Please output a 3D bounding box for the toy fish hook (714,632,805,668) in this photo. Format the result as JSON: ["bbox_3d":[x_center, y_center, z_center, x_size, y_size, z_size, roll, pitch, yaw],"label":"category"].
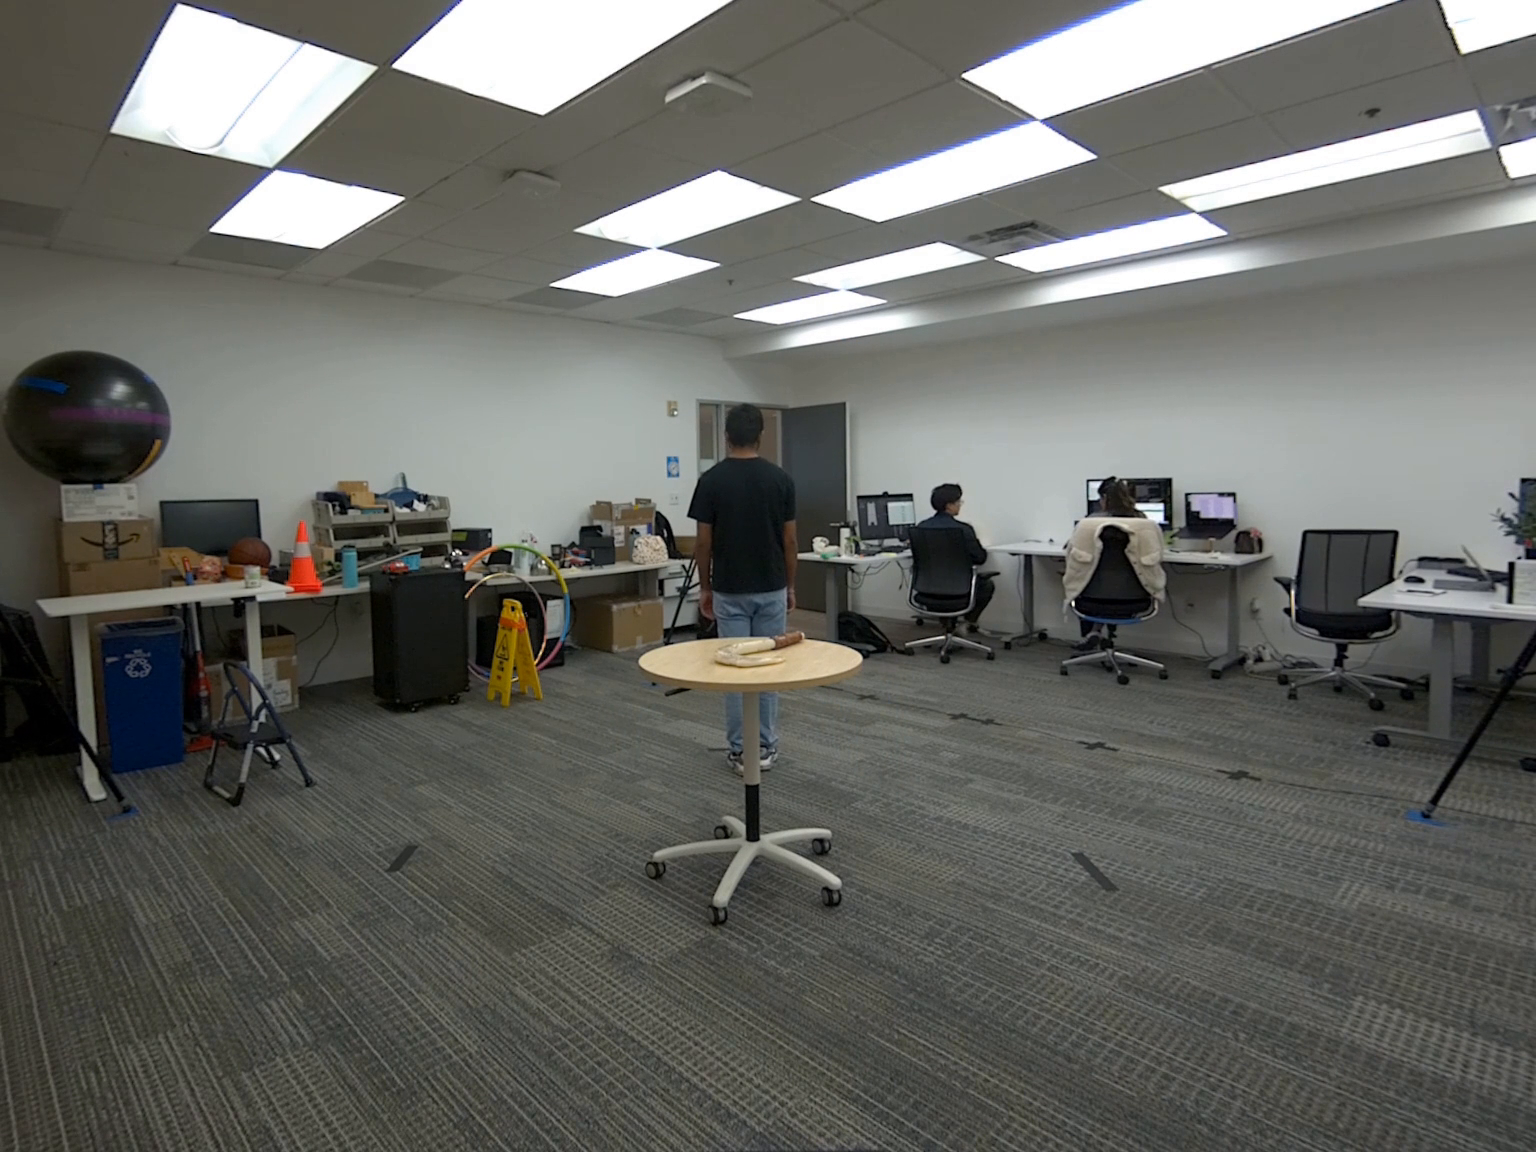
[{"bbox_3d":[0.018,0.265,2.991,0.232,0.048,0.495,13,14,35],"label":"toy fish hook"}]
